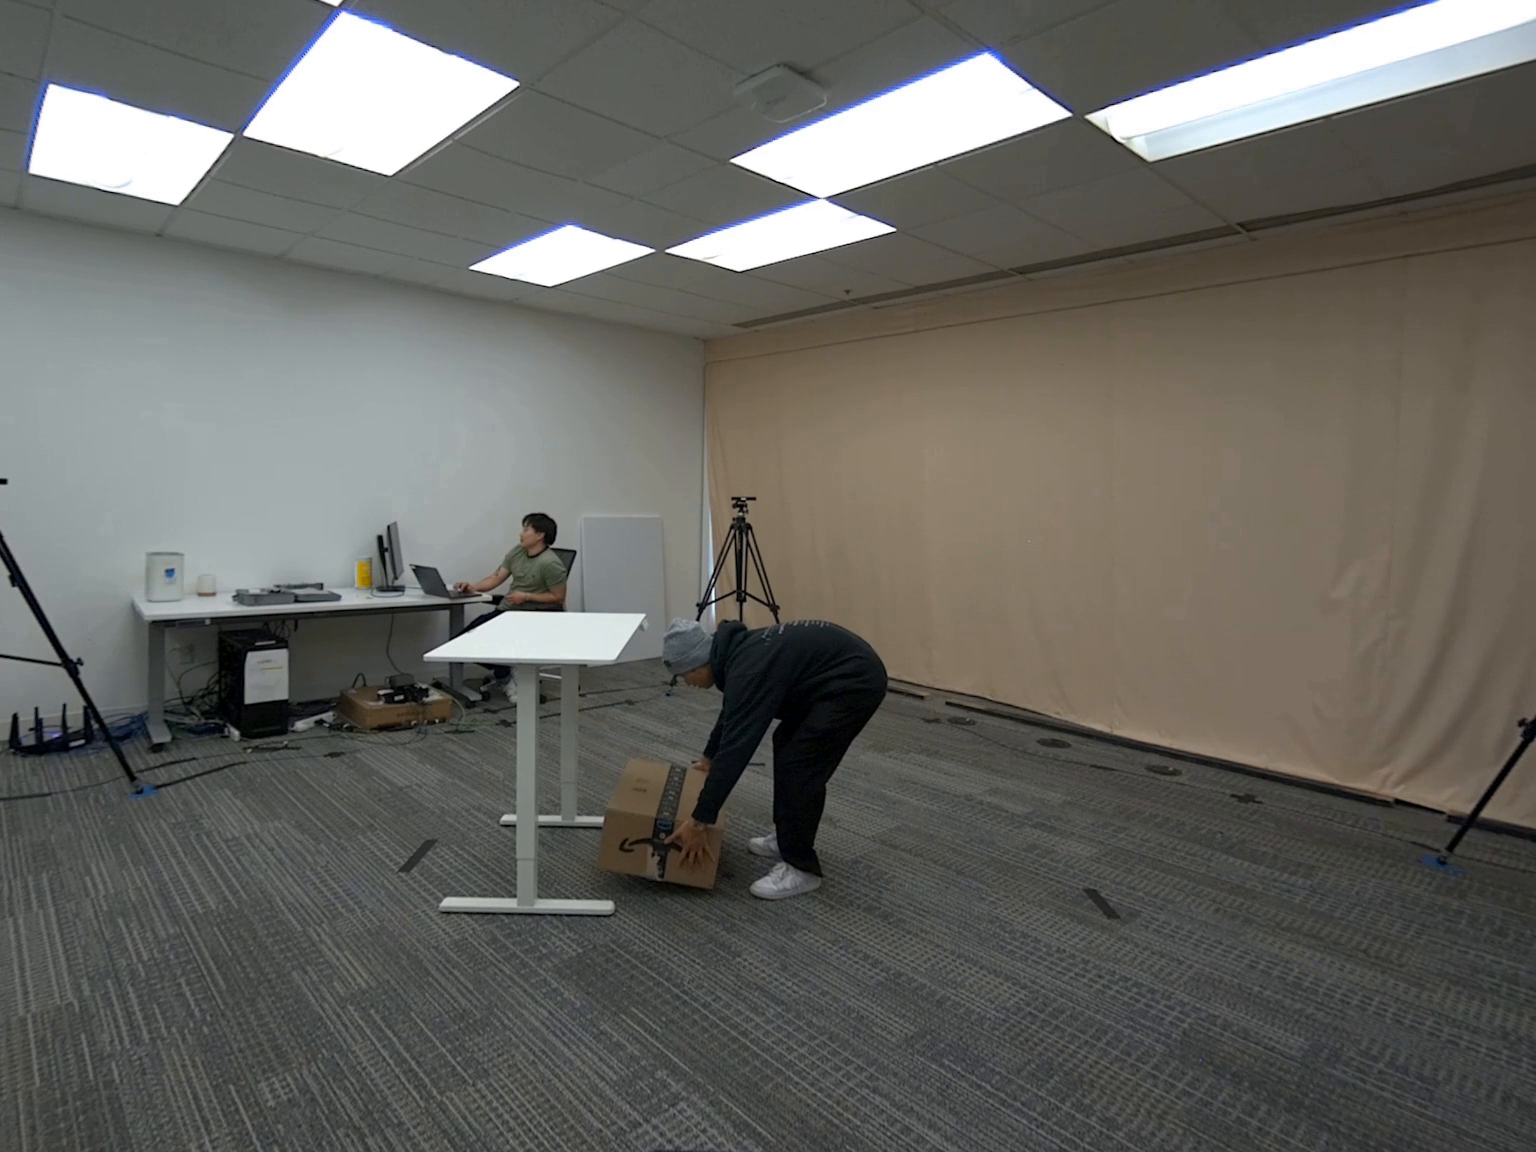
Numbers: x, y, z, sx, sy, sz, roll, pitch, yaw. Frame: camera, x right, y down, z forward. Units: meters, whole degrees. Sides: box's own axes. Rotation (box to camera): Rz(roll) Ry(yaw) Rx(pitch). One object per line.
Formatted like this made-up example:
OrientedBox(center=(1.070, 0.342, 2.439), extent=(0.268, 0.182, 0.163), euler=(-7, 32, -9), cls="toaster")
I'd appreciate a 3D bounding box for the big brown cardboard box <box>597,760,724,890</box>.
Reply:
OrientedBox(center=(-0.373, 0.907, 3.170), extent=(0.418, 0.232, 0.590), euler=(10, 4, -1), cls="big brown cardboard box")
